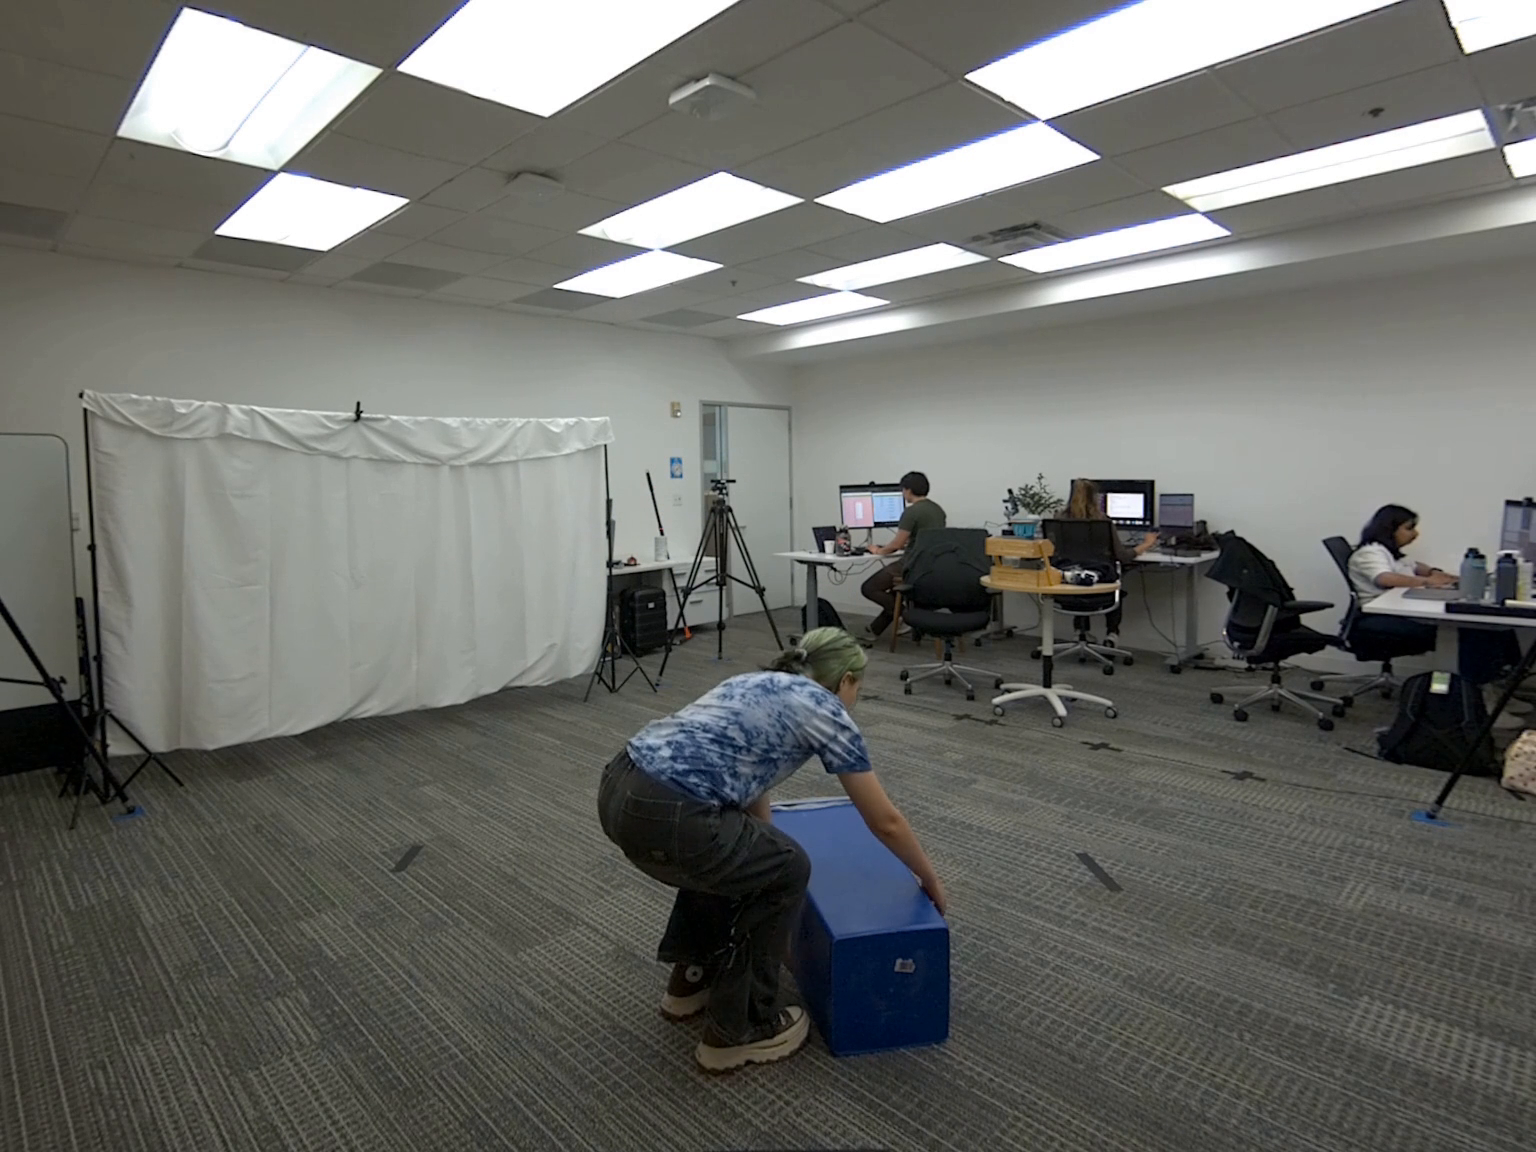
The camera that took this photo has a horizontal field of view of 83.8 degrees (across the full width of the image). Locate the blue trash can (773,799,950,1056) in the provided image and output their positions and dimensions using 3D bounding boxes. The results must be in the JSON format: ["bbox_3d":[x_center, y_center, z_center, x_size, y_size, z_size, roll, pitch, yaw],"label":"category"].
[{"bbox_3d":[0.232,0.942,2.424,0.374,0.372,0.725,-2,7,-13],"label":"blue trash can"}]
